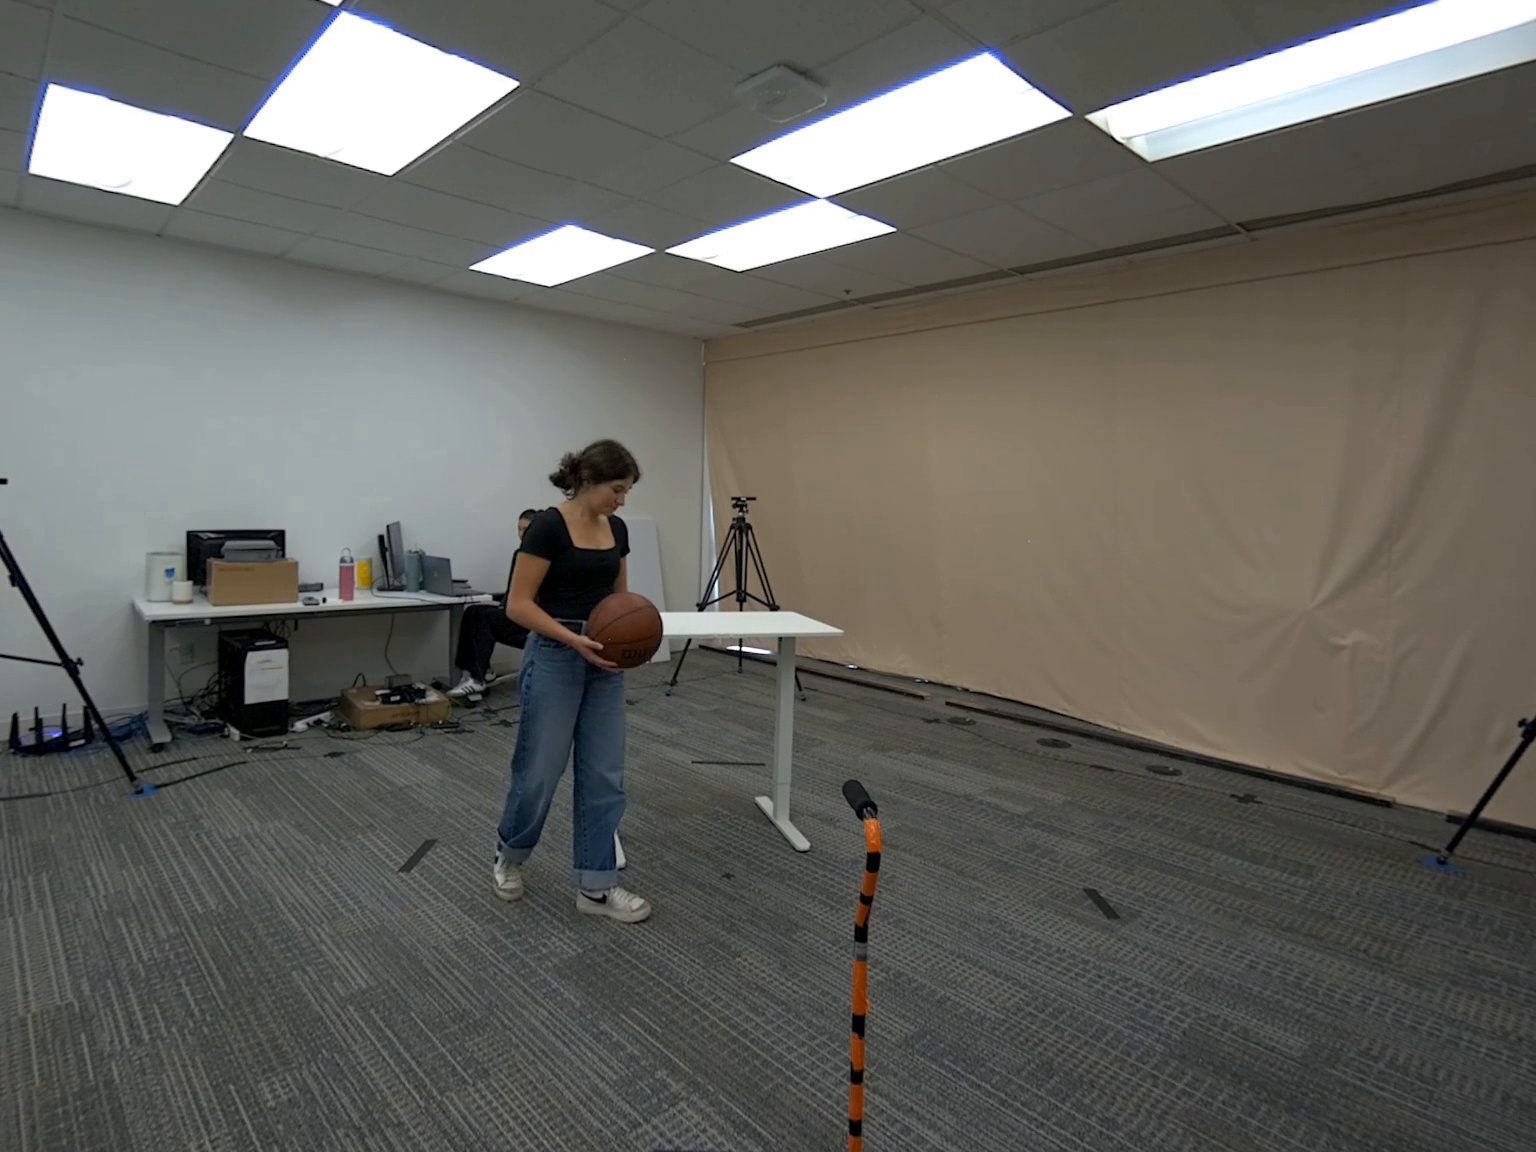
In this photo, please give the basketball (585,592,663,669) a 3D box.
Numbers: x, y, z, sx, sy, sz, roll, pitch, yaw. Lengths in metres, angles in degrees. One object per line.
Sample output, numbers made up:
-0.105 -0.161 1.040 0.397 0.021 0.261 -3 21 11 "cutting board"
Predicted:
-0.454 0.166 2.616 0.236 0.235 0.237 1 4 -1 "basketball"
